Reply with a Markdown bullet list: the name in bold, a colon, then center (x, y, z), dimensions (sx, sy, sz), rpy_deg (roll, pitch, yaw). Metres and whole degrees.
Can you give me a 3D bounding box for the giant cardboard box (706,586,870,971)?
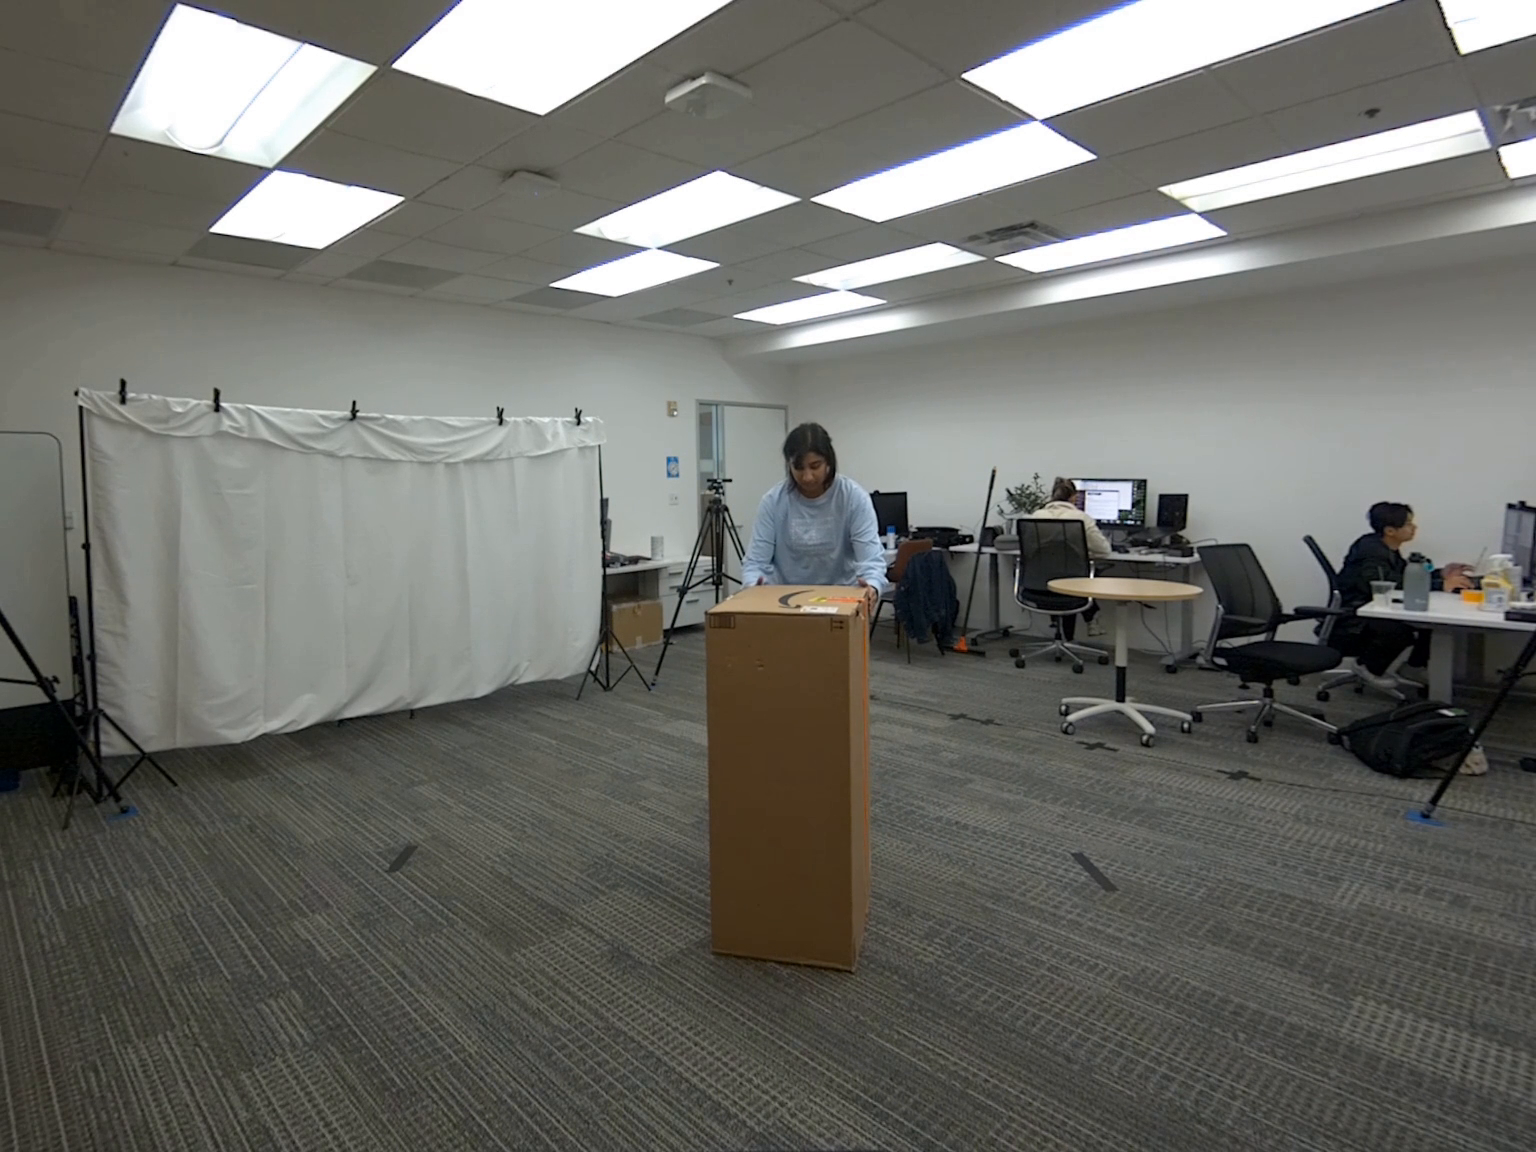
- **giant cardboard box**: center (0.085, 0.581, 2.710), dimensions (0.432, 1.022, 0.572), rpy_deg (0, 4, 13)
